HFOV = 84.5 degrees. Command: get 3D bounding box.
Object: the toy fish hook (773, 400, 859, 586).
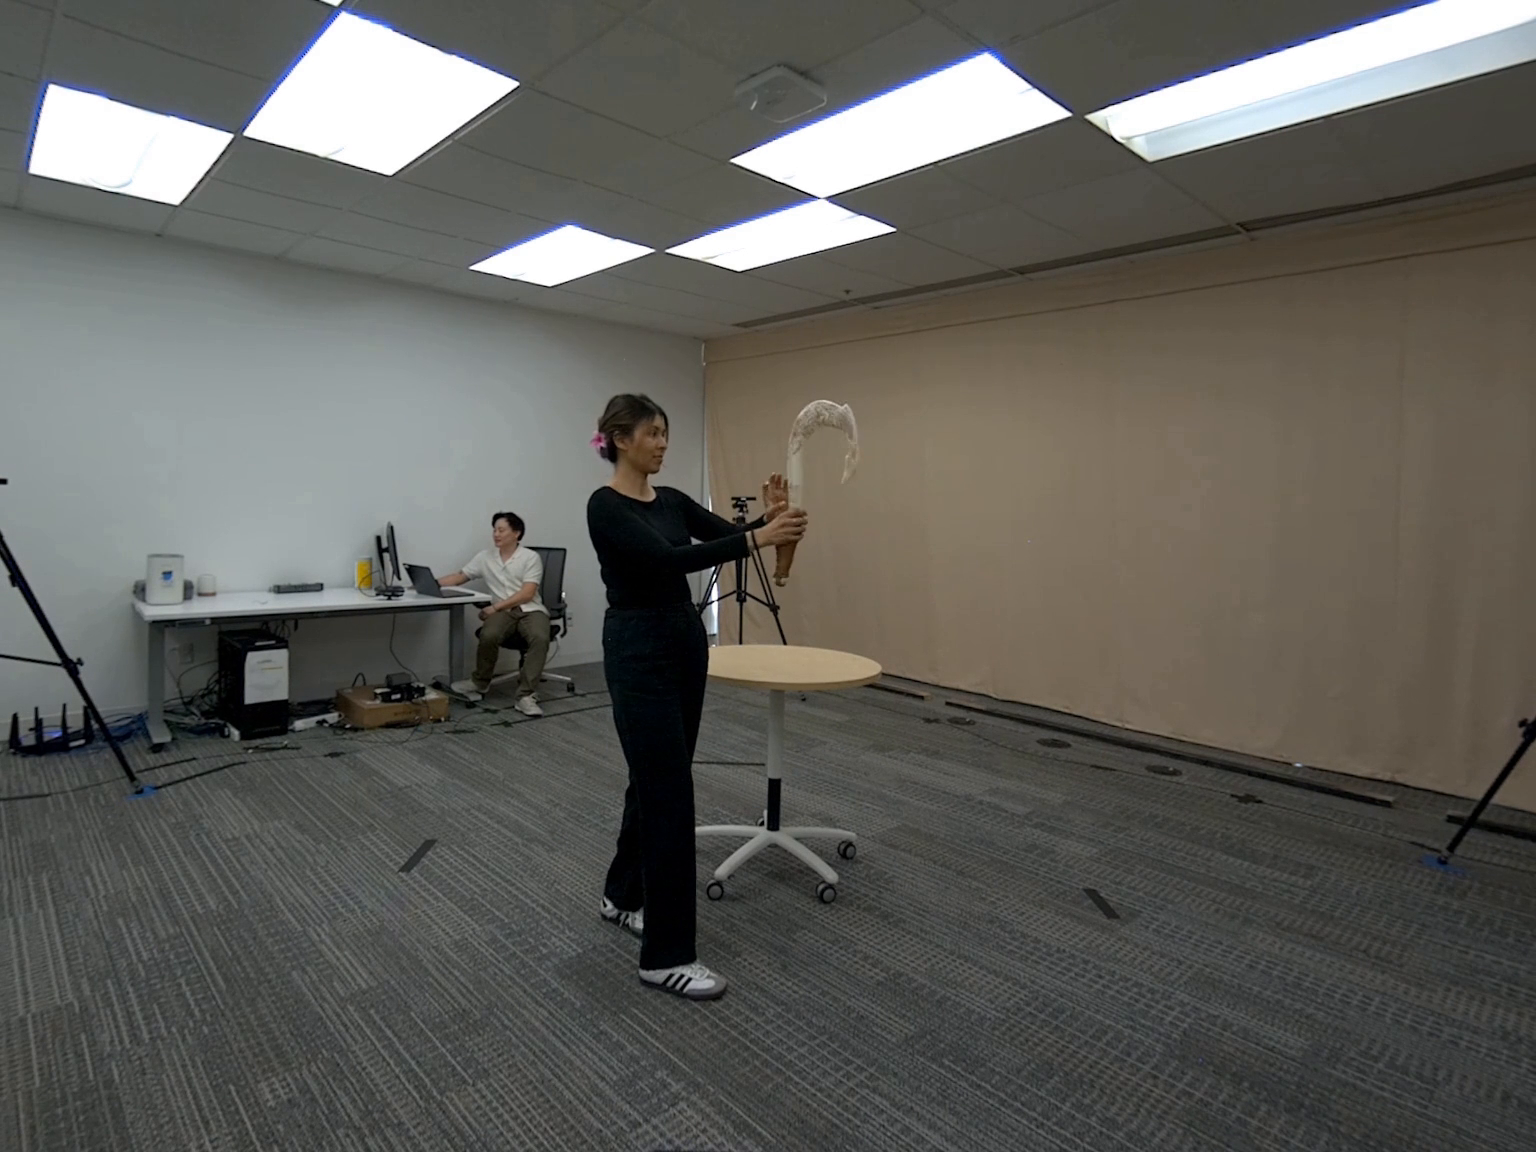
[{"bbox_3d":[0.111,-0.199,2.192,0.047,0.503,0.231,2,15,-45],"label":"toy fish hook"}]
